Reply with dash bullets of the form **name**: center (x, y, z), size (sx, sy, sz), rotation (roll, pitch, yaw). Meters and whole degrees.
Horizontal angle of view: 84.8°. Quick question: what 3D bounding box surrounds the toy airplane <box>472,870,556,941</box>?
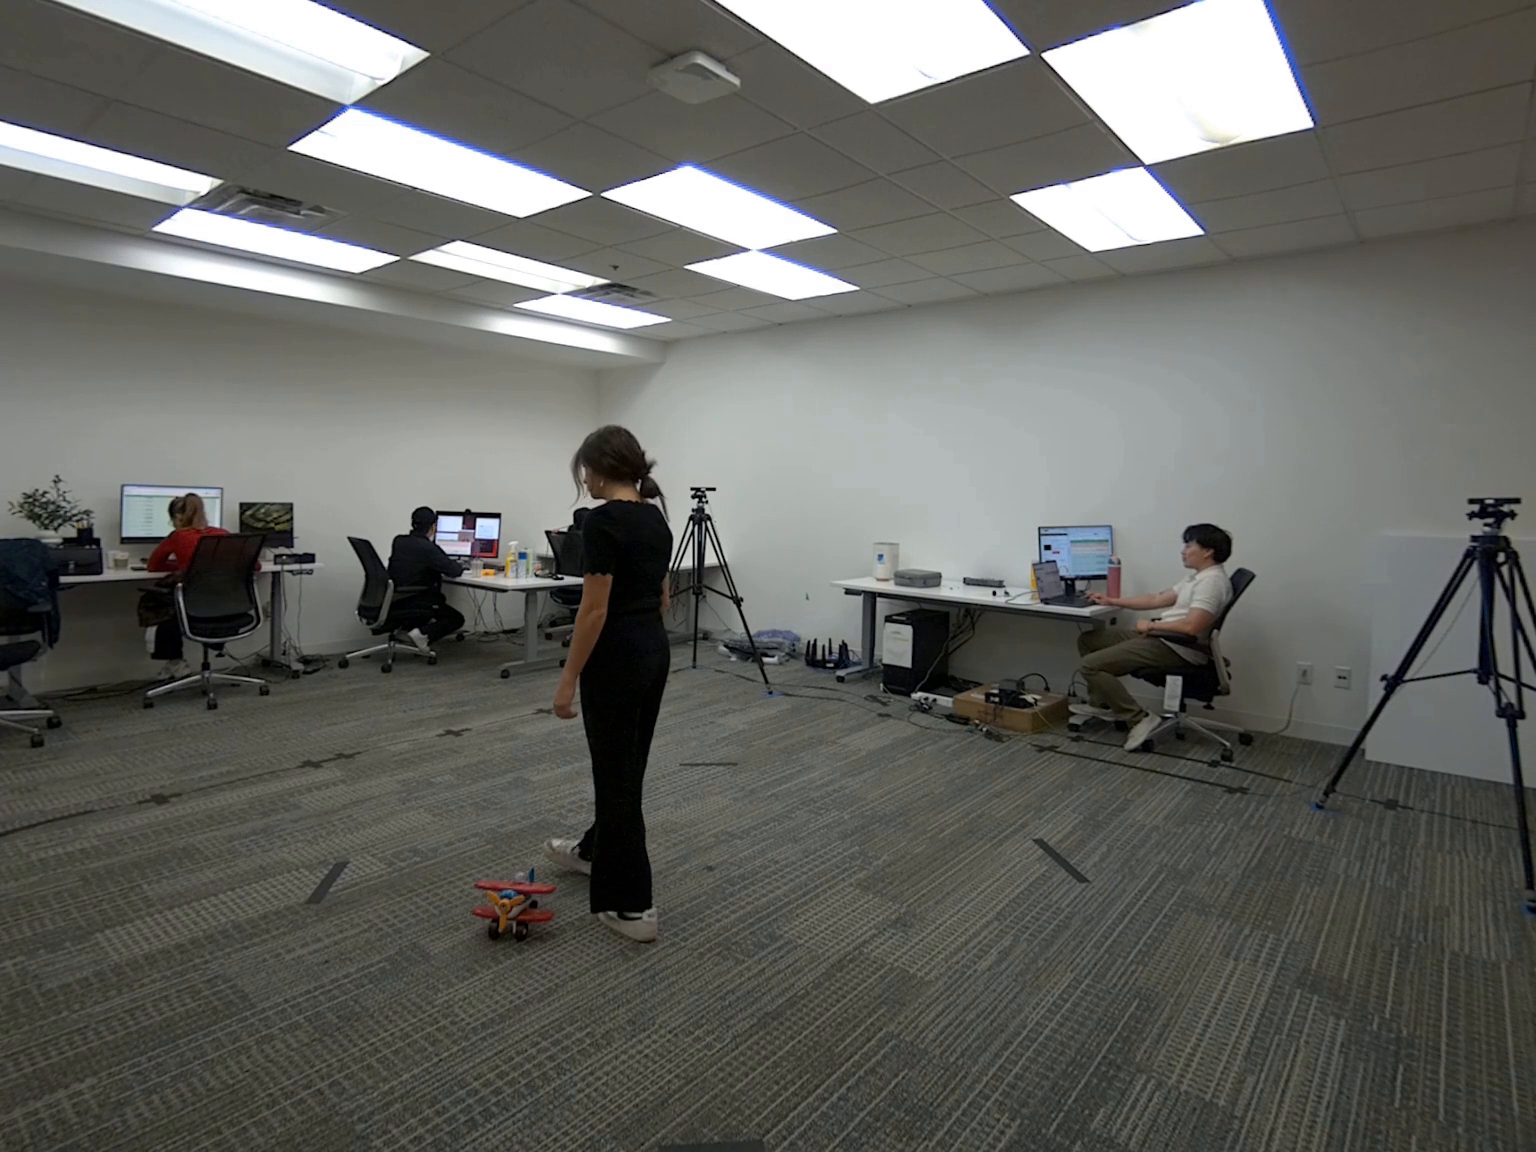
- **toy airplane**: center (-0.815, 1.025, 2.684), size (0.246, 0.156, 0.266), rotation (-1, 6, -22)
